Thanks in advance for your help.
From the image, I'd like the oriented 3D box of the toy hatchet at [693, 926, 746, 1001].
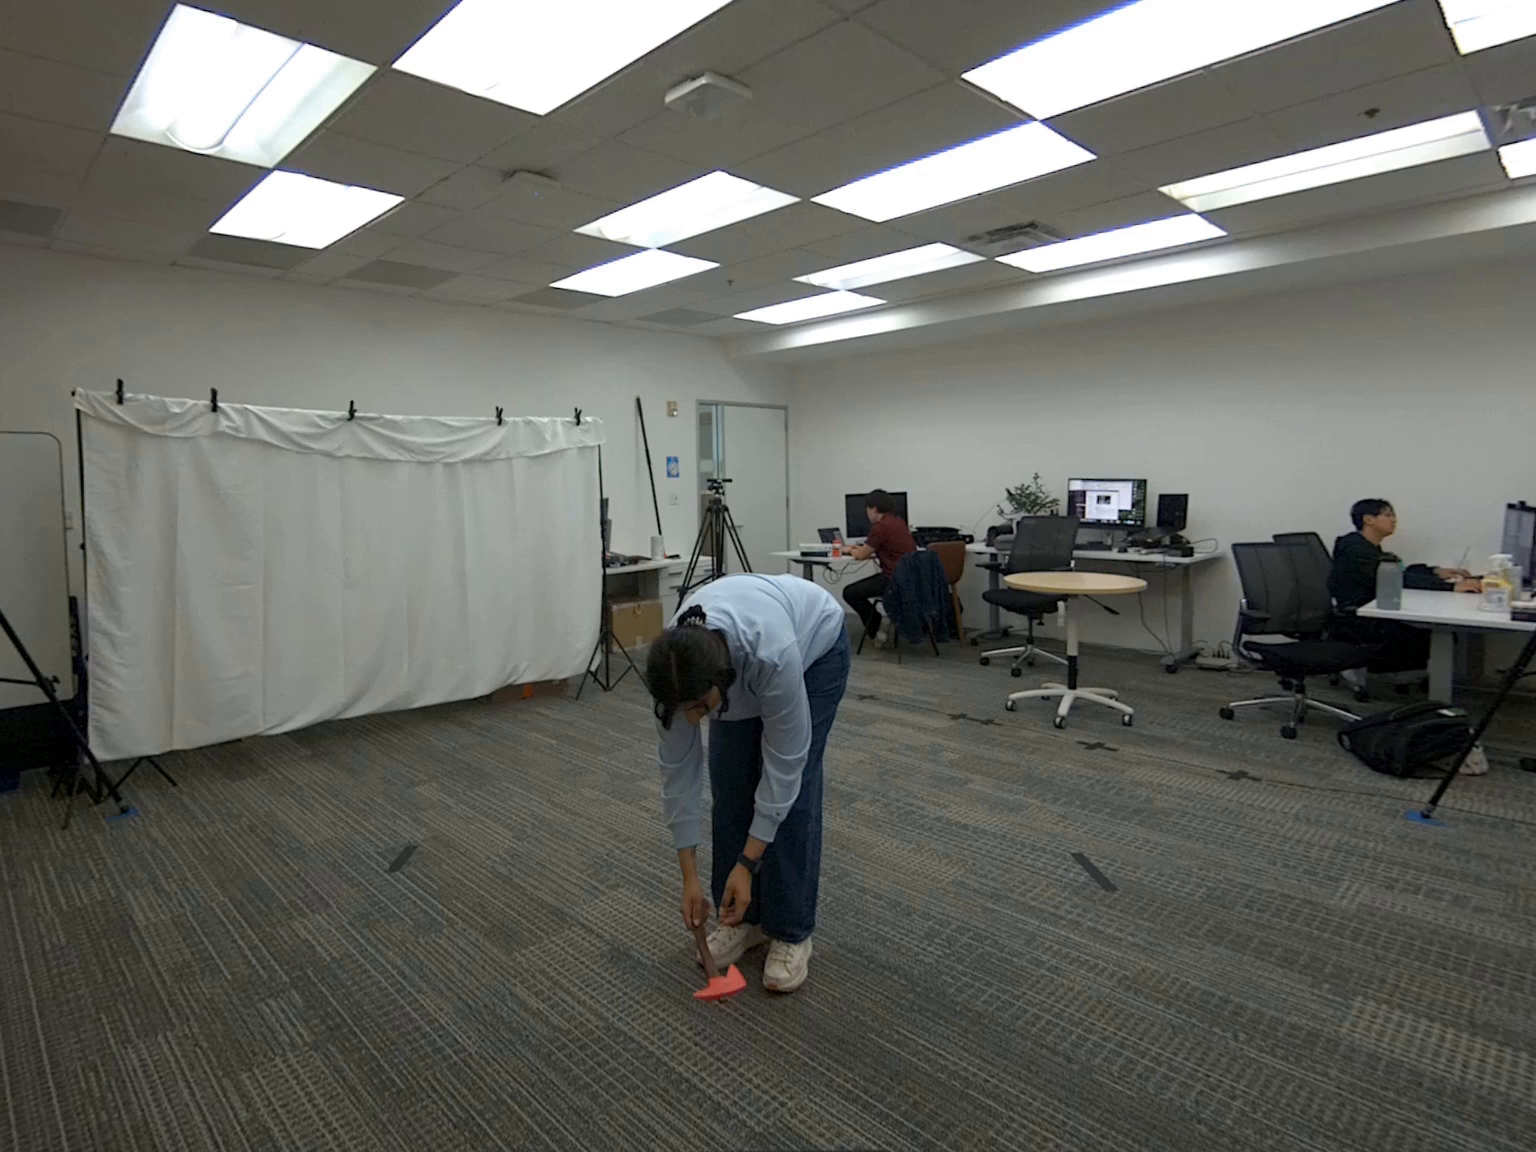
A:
[{"bbox_3d":[-0.126,0.911,2.098,0.130,0.029,0.277,7,32,-9],"label":"toy hatchet"}]
